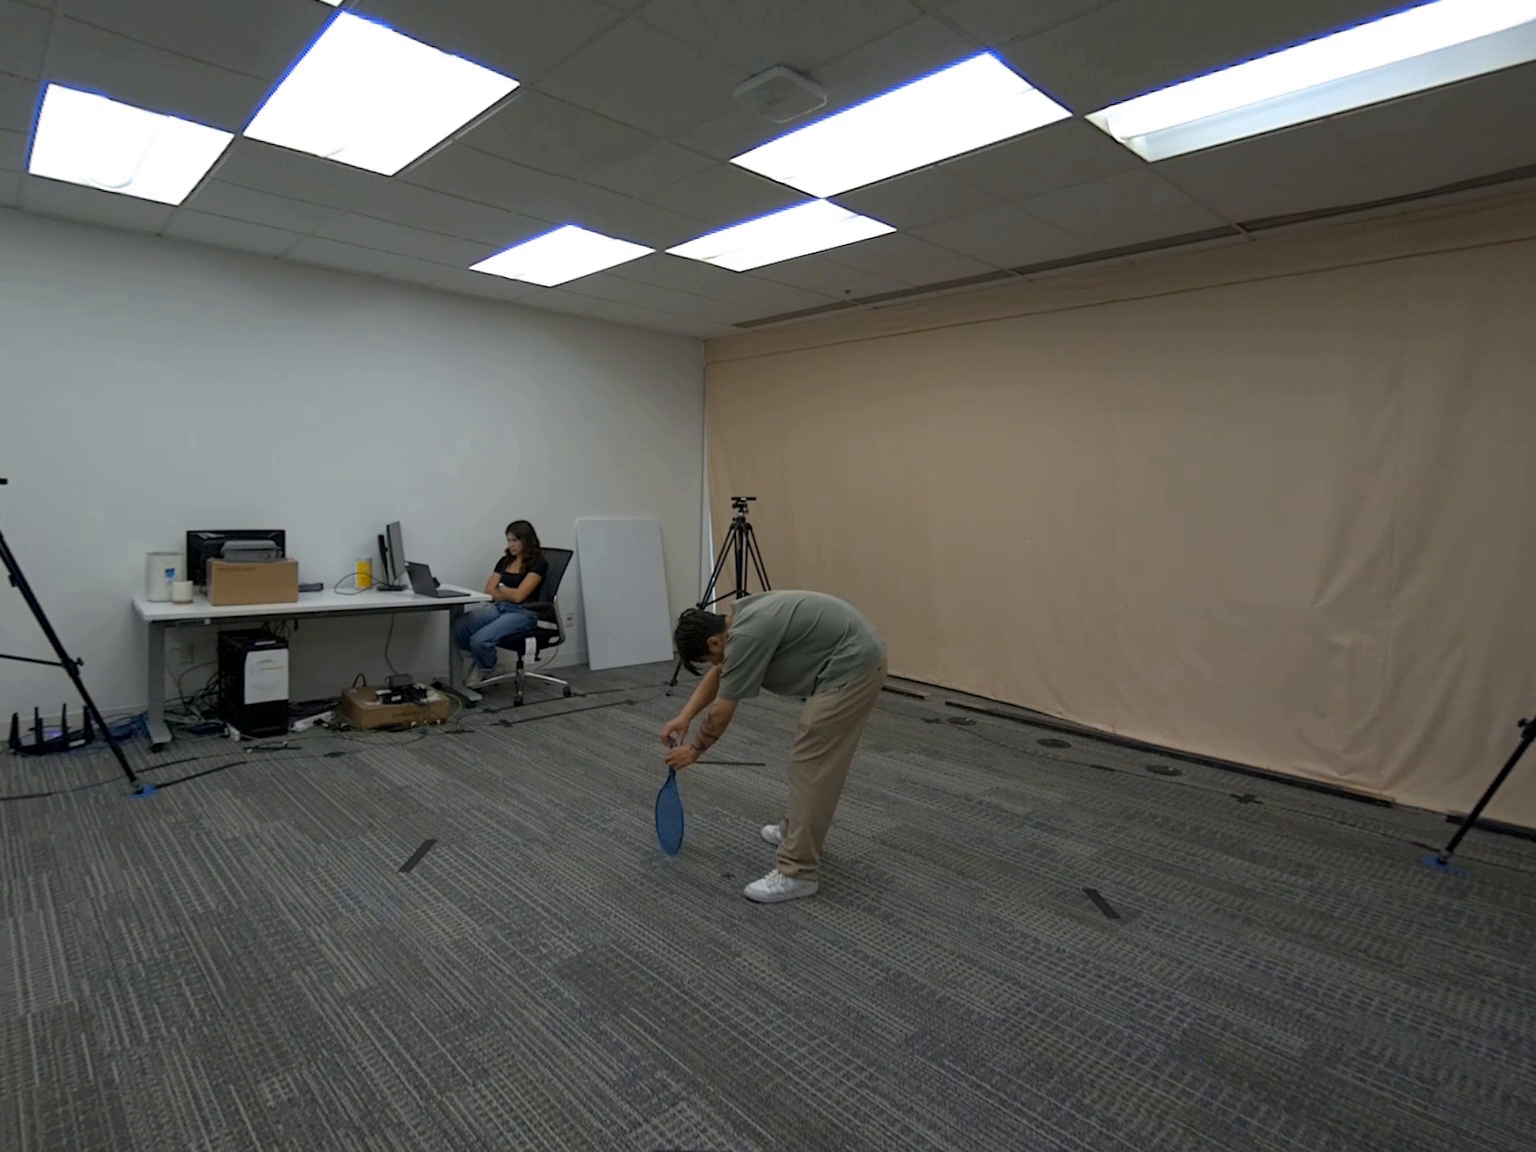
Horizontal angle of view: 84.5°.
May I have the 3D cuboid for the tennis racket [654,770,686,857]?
[{"bbox_3d":[-0.388,0.868,3.280,0.031,0.433,0.219,3,0,-36],"label":"tennis racket"}]
